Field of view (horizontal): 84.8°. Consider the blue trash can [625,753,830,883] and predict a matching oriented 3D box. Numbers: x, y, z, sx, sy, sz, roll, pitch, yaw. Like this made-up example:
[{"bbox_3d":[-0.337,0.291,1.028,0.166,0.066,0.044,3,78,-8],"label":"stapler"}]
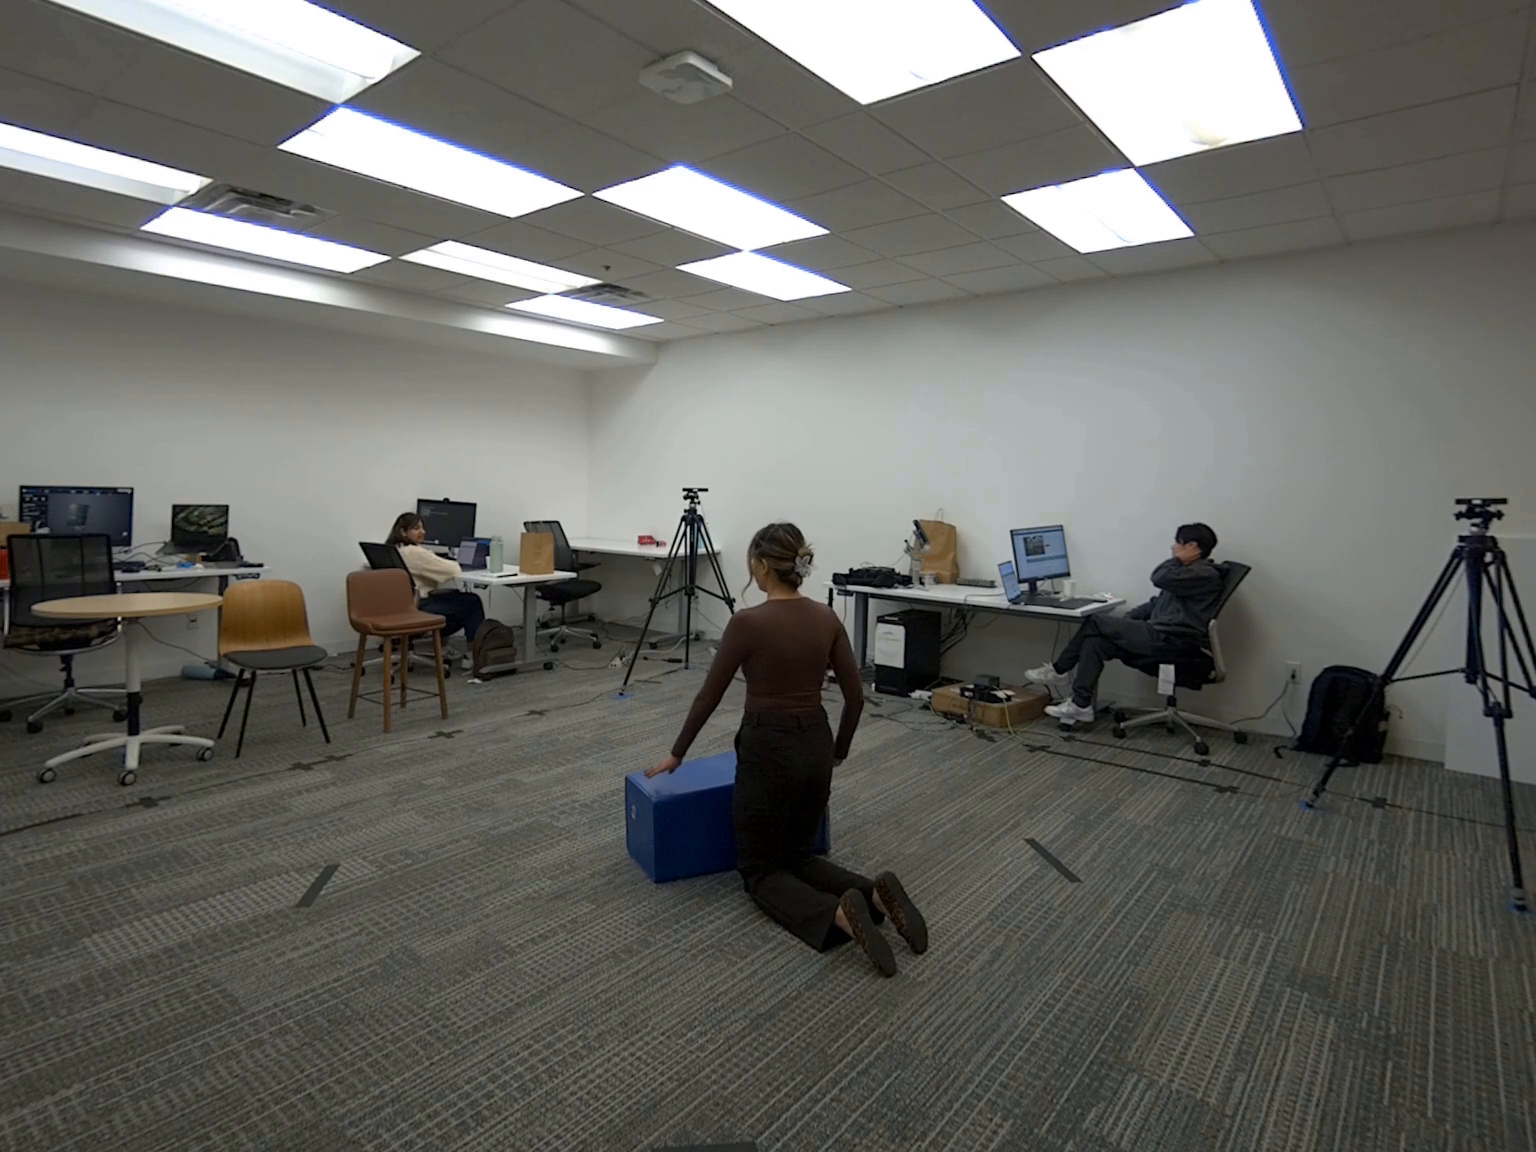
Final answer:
[{"bbox_3d":[-0.172,0.884,3.258,0.697,0.376,0.385,-3,6,-26],"label":"blue trash can"}]
